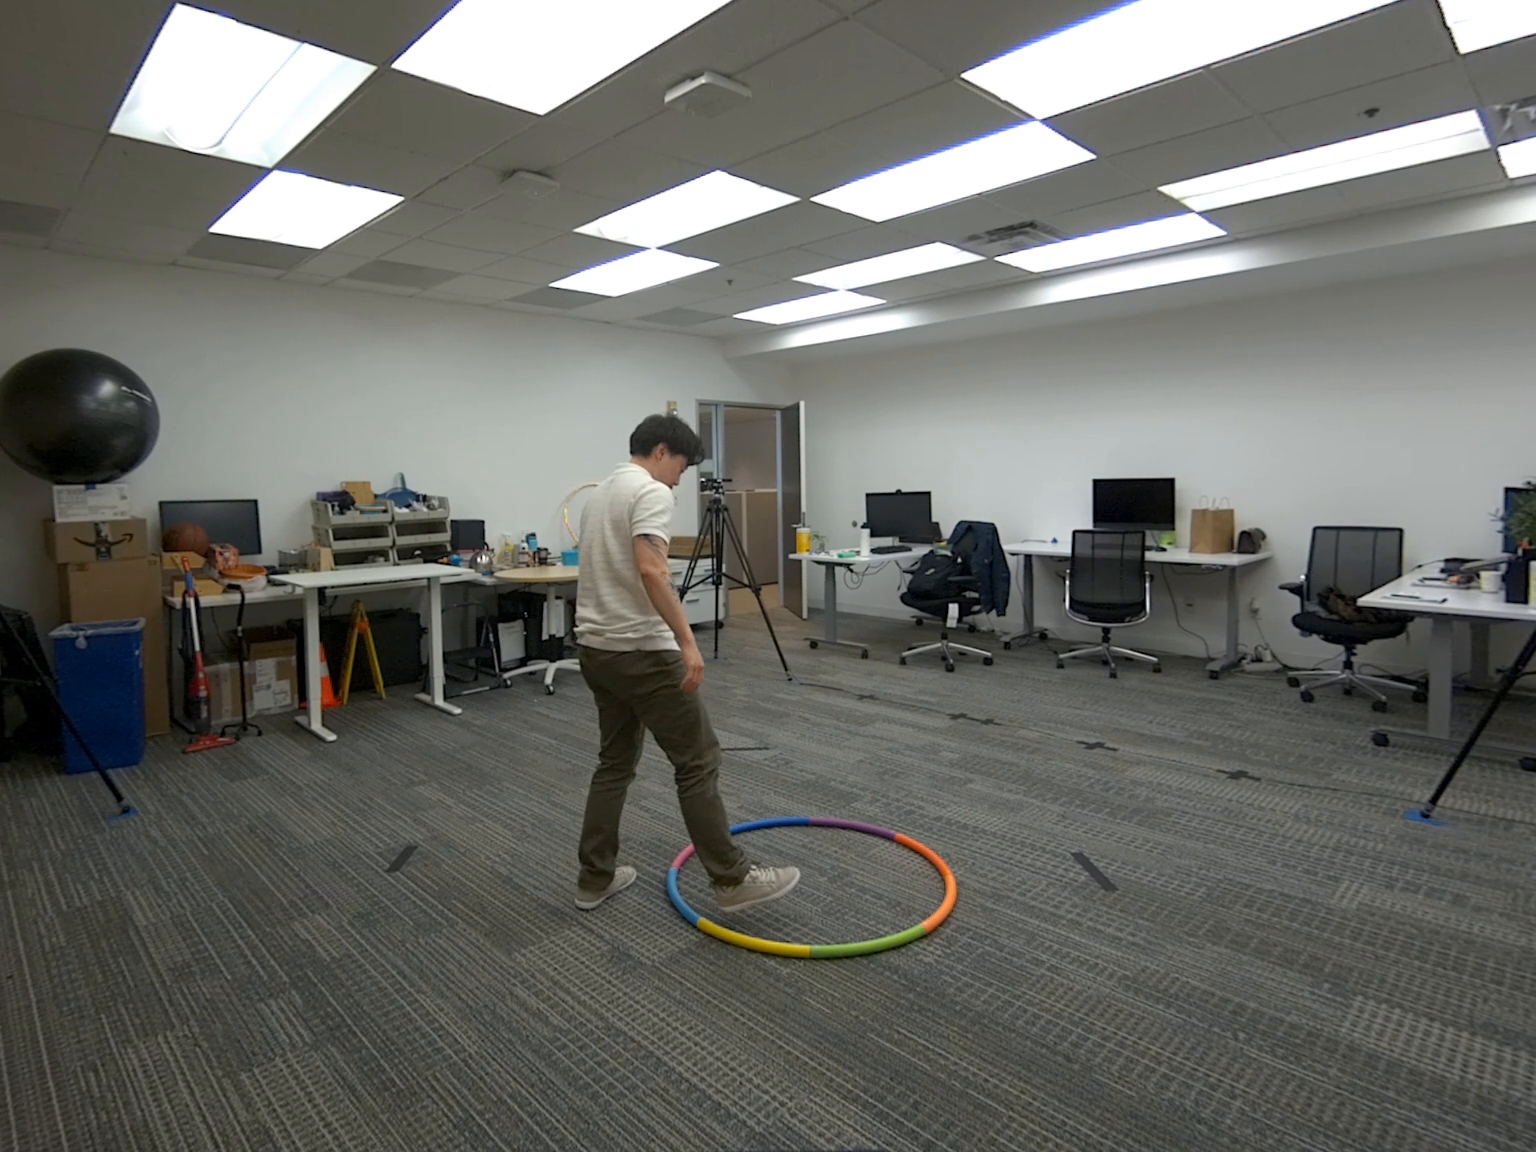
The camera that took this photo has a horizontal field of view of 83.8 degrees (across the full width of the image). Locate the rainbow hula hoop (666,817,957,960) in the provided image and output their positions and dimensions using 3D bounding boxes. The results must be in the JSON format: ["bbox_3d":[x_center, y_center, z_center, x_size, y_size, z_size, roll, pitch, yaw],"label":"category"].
[{"bbox_3d":[0.145,1.027,2.969,0.978,0.035,0.984,-1,6,-2],"label":"rainbow hula hoop"}]
